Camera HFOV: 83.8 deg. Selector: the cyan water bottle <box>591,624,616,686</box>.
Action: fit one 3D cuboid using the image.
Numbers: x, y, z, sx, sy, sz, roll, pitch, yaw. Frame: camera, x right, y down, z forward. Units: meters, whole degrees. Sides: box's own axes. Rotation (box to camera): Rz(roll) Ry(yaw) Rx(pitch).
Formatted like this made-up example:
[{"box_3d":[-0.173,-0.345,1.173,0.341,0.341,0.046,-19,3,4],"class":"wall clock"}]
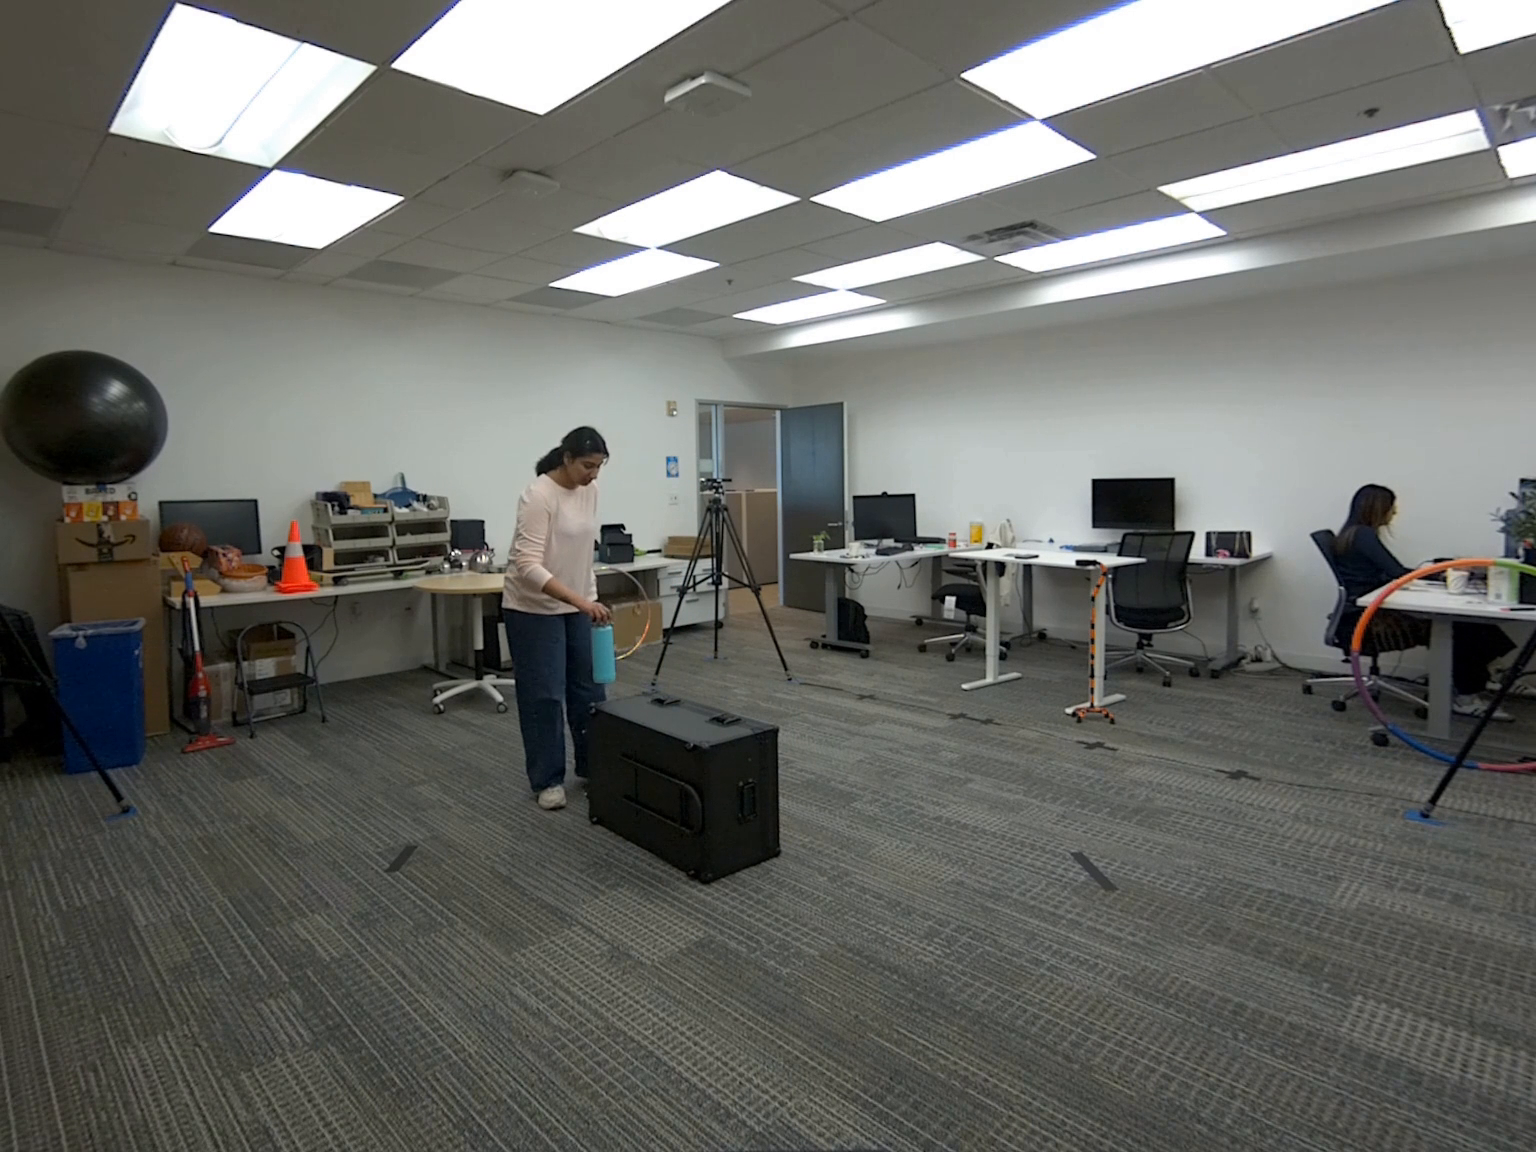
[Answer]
[{"box_3d":[-0.676,0.290,3.488,0.092,0.282,0.093,-2,4,-1],"class":"cyan water bottle"}]
